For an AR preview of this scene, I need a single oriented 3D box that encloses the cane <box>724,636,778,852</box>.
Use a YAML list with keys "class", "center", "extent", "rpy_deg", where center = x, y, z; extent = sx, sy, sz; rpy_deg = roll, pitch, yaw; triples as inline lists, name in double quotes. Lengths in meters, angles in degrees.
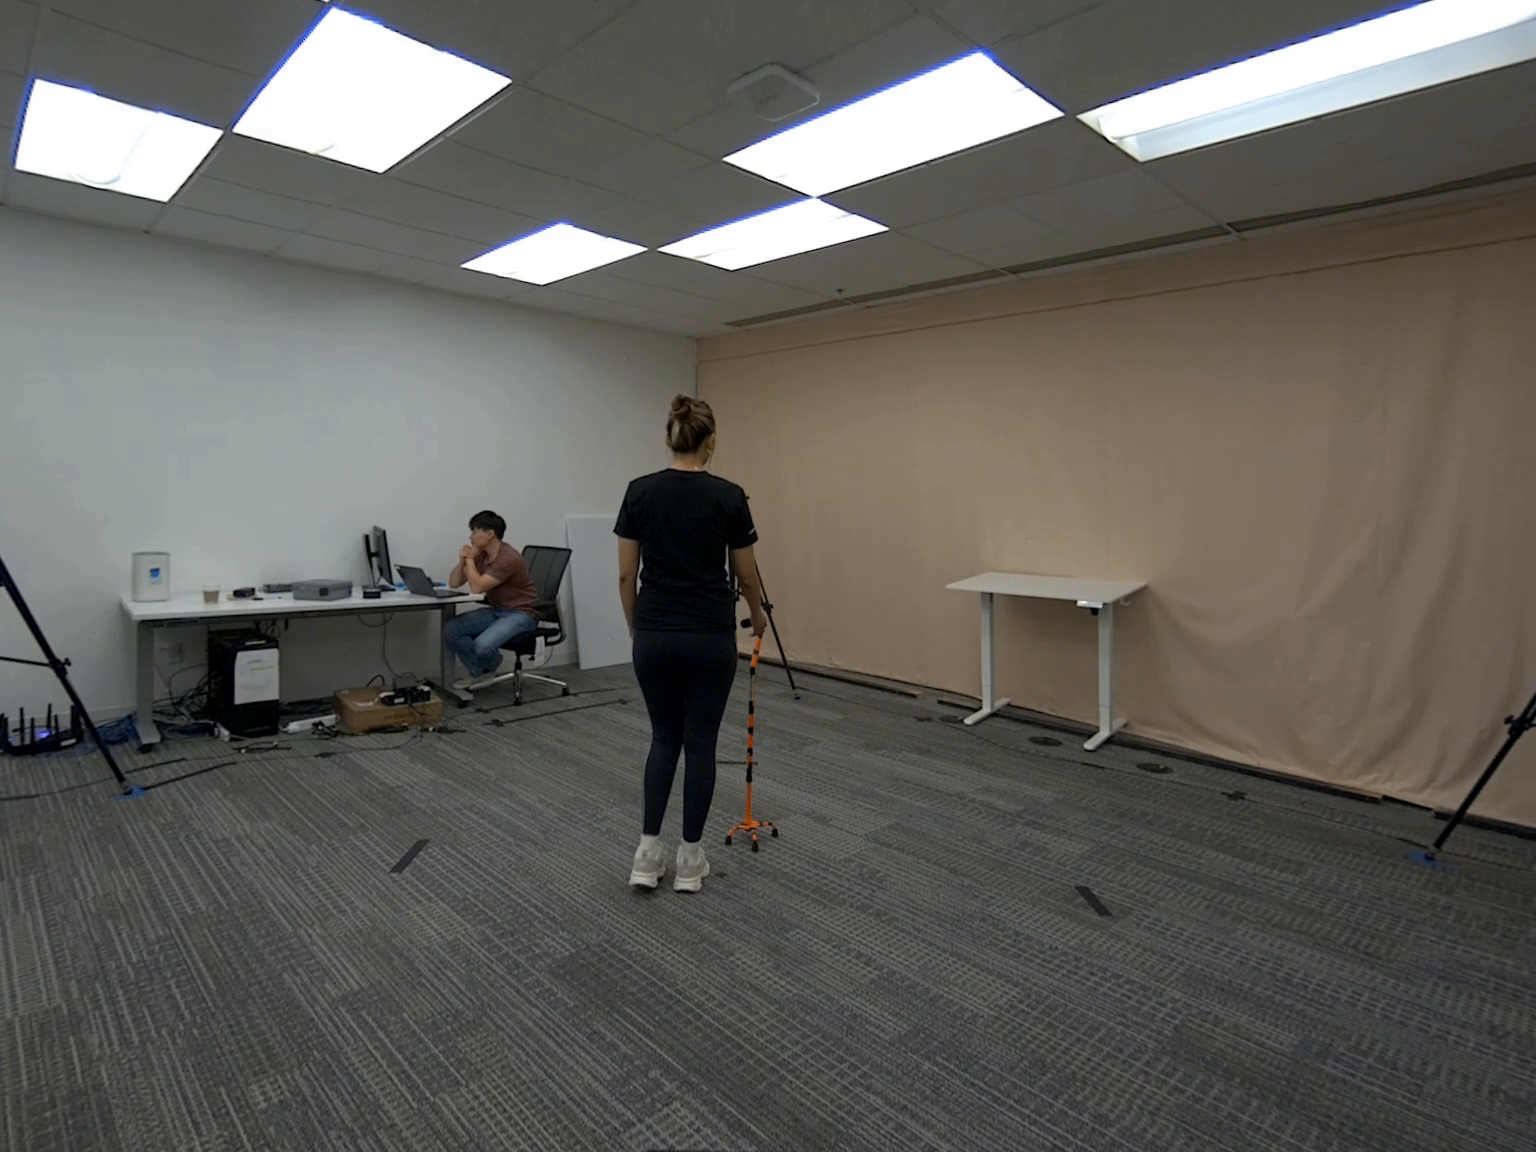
- class: "cane"
  center: [-0.058, 0.624, 3.409]
  extent: [0.155, 0.906, 0.203]
  rpy_deg: [3, 3, 26]
